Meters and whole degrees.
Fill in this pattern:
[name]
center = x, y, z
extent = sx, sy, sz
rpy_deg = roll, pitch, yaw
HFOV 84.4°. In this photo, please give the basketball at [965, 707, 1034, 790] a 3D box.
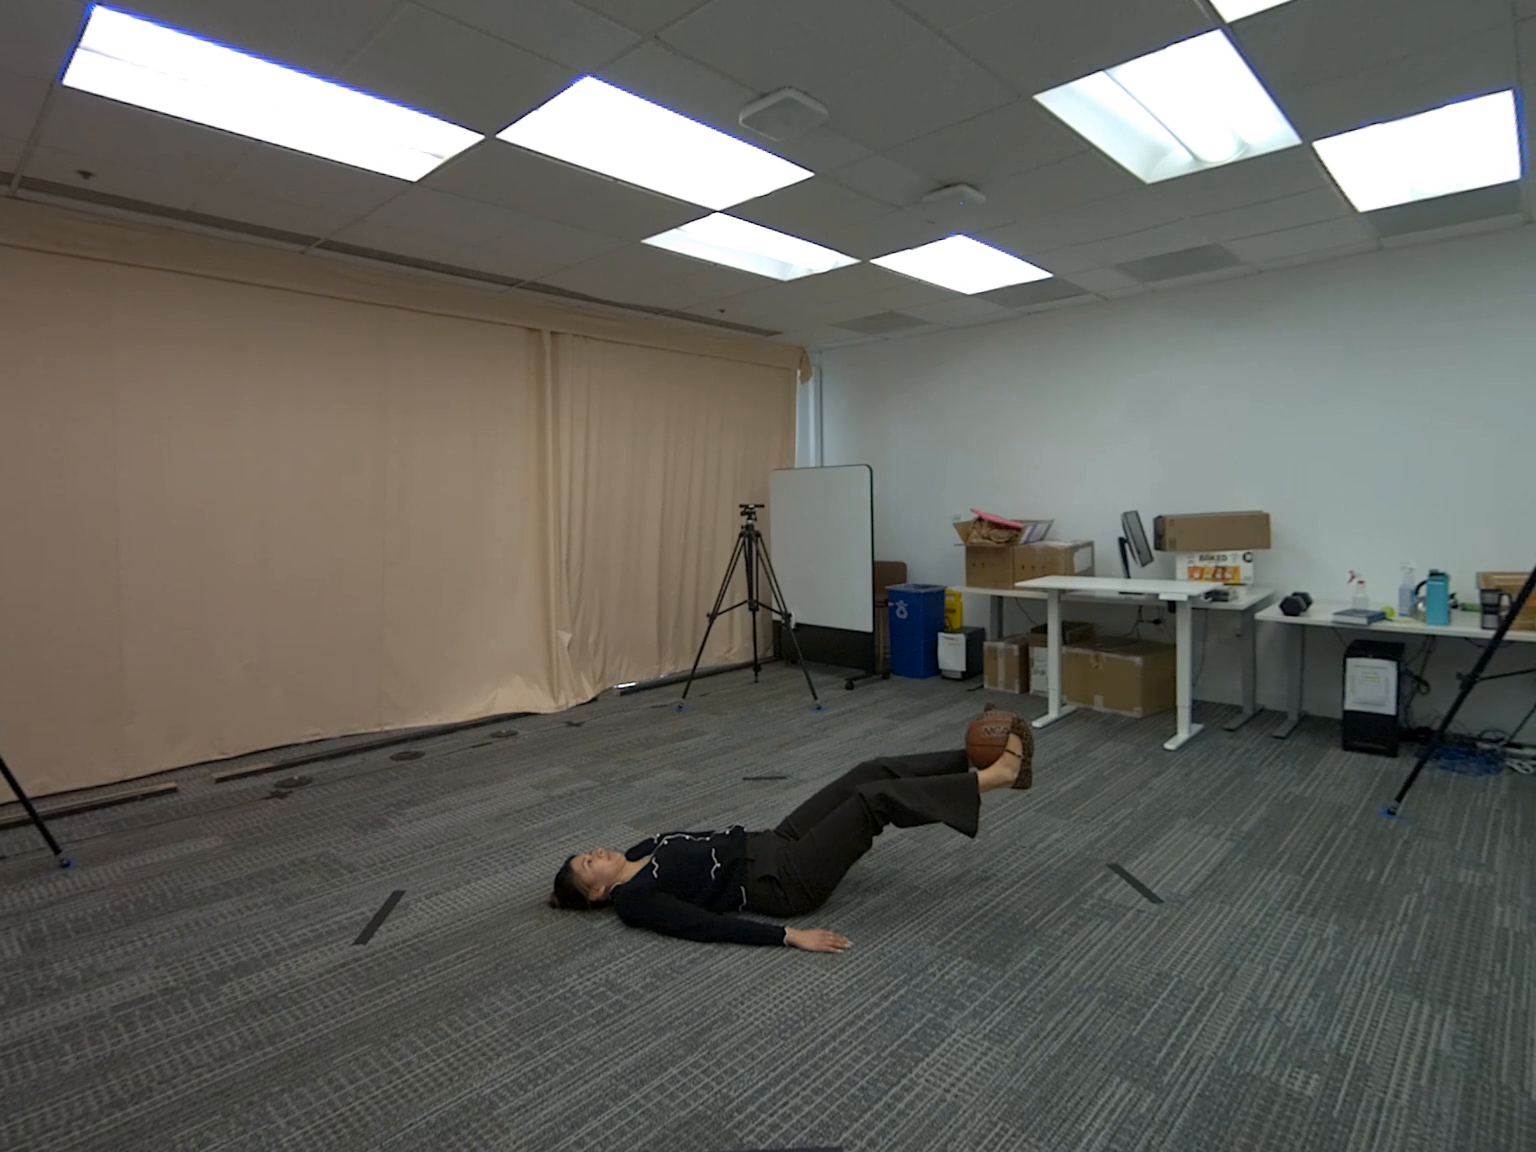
[basketball]
center = 0.830, 0.596, 3.007
extent = 0.236, 0.236, 0.236
rpy_deg = 0, 1, -2
